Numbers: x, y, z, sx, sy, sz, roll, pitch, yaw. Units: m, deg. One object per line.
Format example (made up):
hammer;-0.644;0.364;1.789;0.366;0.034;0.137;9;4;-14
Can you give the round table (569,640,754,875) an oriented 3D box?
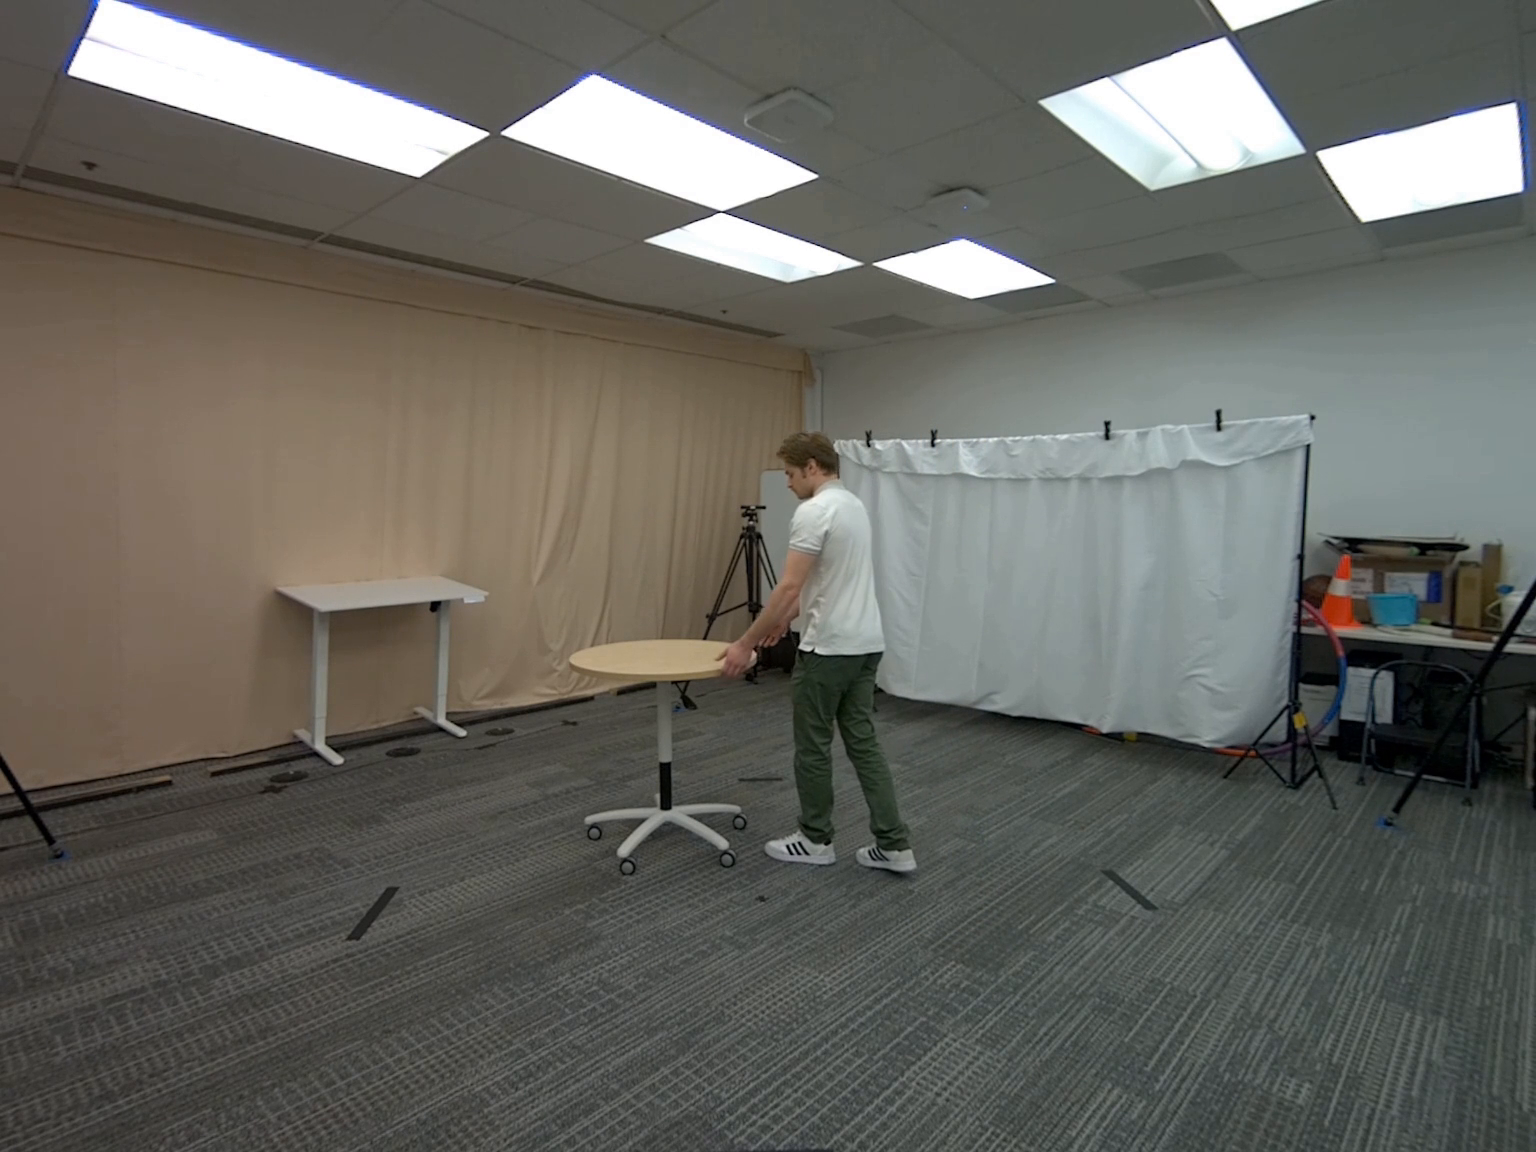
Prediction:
round table;-0.405;0.711;3.480;0.784;0.785;0.788;-1;4;-2
